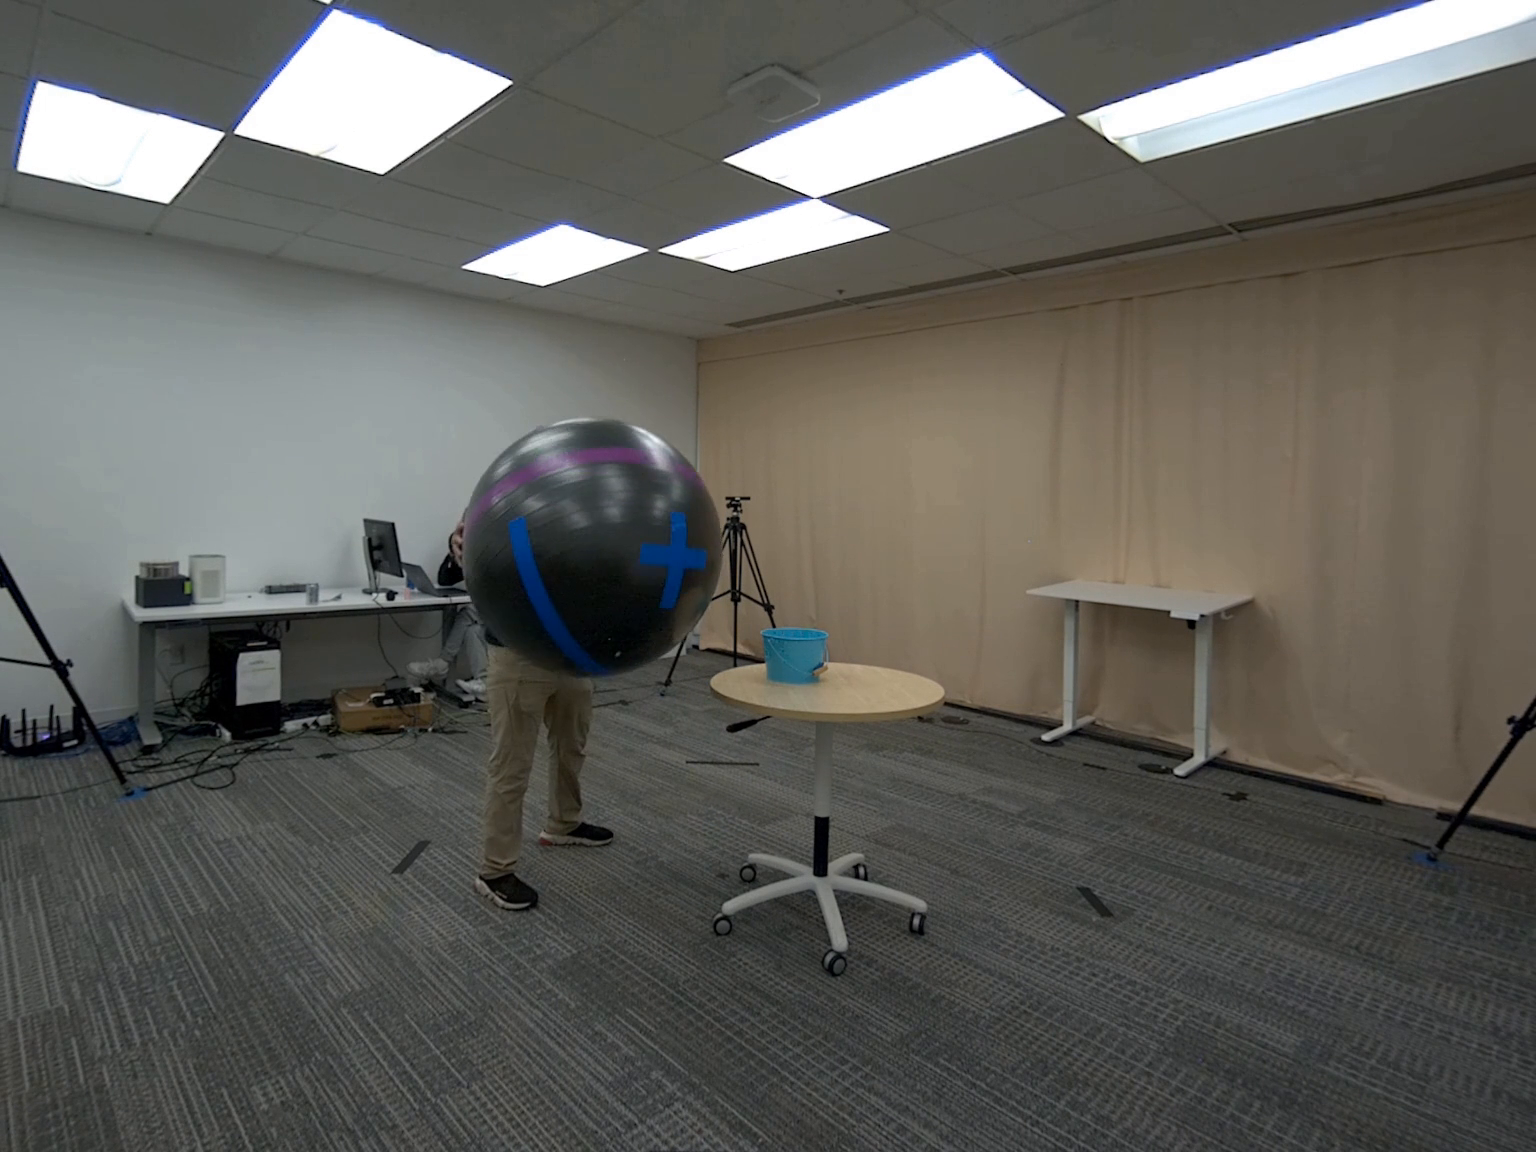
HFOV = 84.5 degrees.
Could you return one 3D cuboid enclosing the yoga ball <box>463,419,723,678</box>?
[{"bbox_3d":[-0.518,-0.074,2.481,0.757,0.756,0.761,1,4,-1],"label":"yoga ball"}]
